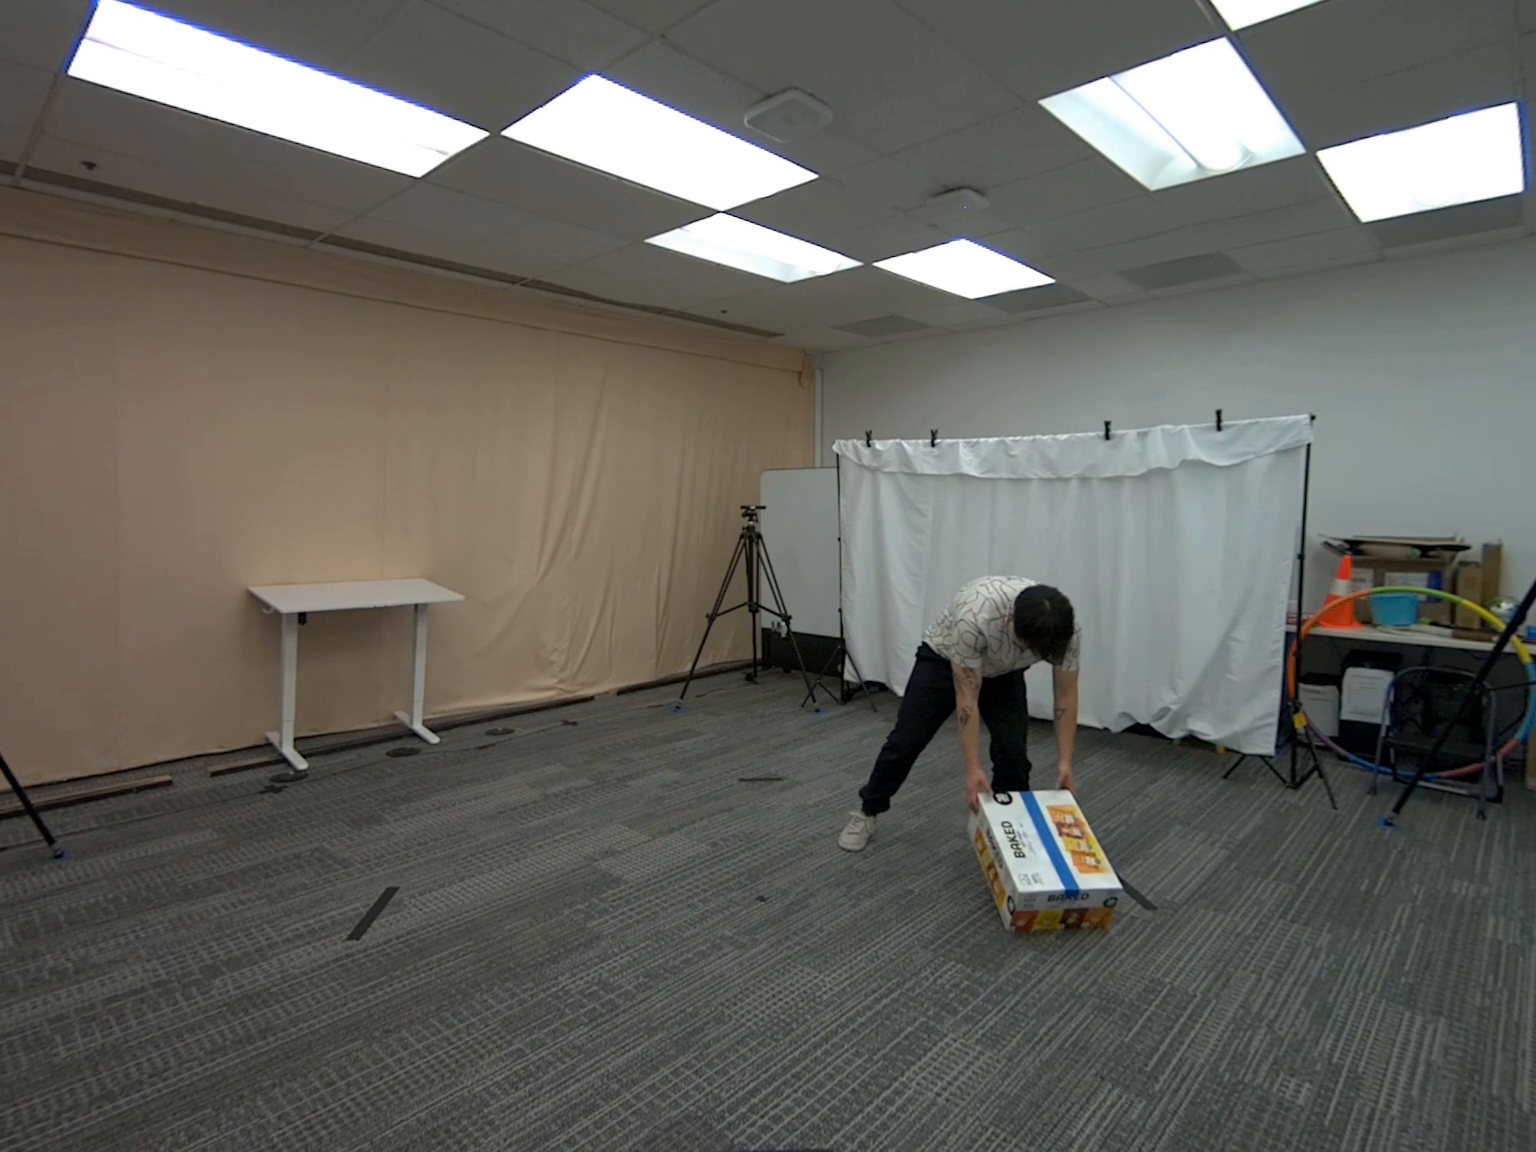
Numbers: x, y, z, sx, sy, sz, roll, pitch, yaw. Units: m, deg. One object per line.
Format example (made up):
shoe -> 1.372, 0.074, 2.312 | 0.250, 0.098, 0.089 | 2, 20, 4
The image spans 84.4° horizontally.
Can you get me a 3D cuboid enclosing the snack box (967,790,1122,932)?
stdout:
snack box -> 0.933, 0.966, 2.873 | 0.338, 0.202, 0.414 | -1, 34, -7
